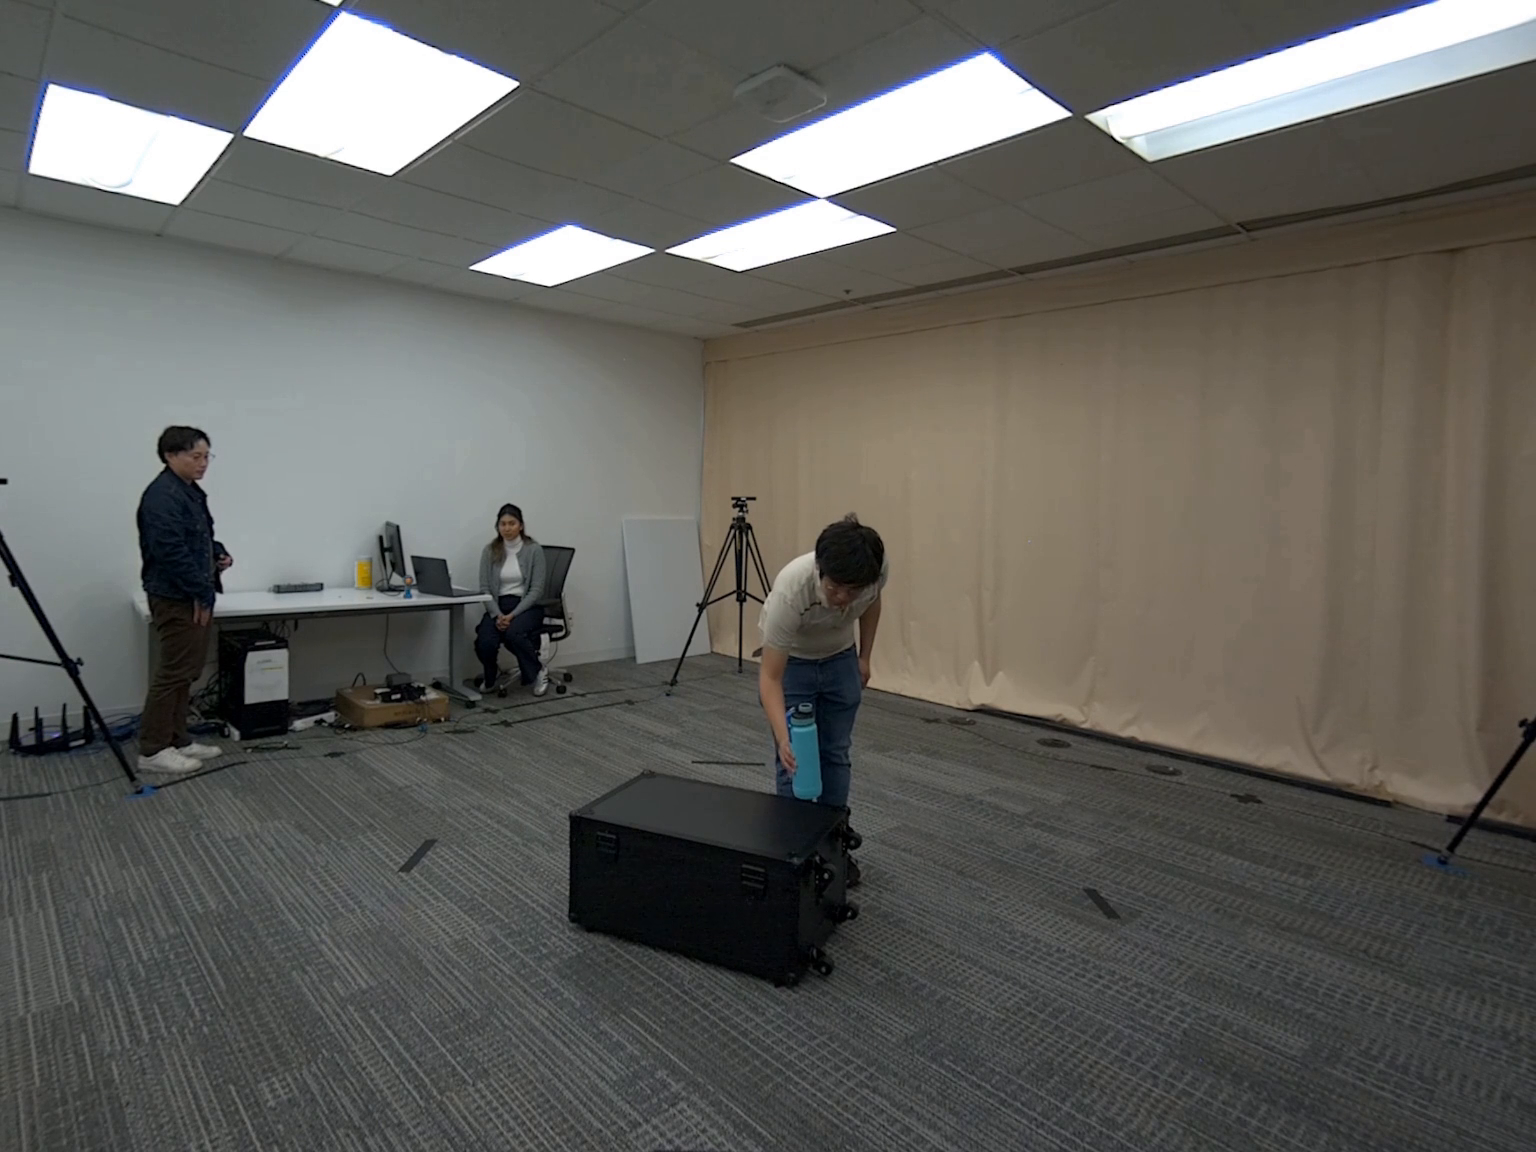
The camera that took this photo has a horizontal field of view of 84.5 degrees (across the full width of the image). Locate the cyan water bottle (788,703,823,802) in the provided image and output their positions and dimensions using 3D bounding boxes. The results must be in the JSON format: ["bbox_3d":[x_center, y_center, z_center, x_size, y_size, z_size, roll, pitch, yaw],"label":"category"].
[{"bbox_3d":[0.103,0.540,2.594,0.092,0.281,0.093,-7,8,0],"label":"cyan water bottle"}]
